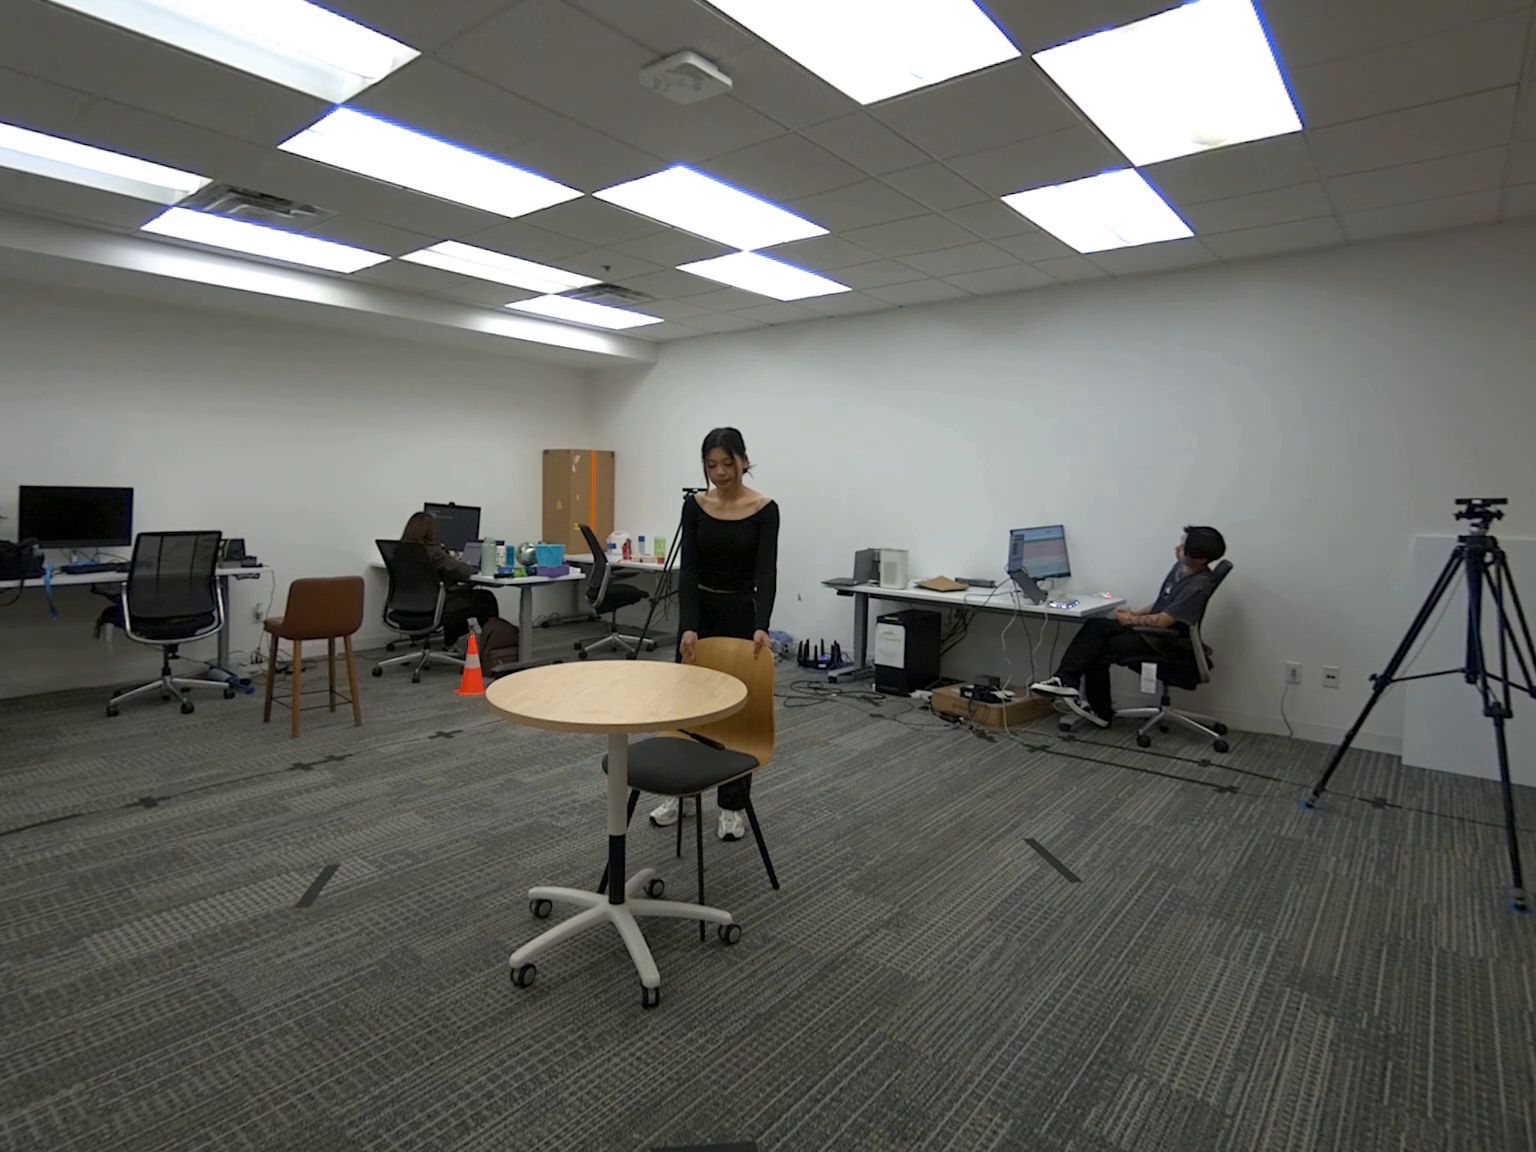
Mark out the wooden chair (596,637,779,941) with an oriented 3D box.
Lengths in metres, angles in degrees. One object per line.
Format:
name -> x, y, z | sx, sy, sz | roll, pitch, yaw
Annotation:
wooden chair -> -0.268, 0.659, 2.885 | 0.493, 0.878, 0.506 | 4, 0, 34
